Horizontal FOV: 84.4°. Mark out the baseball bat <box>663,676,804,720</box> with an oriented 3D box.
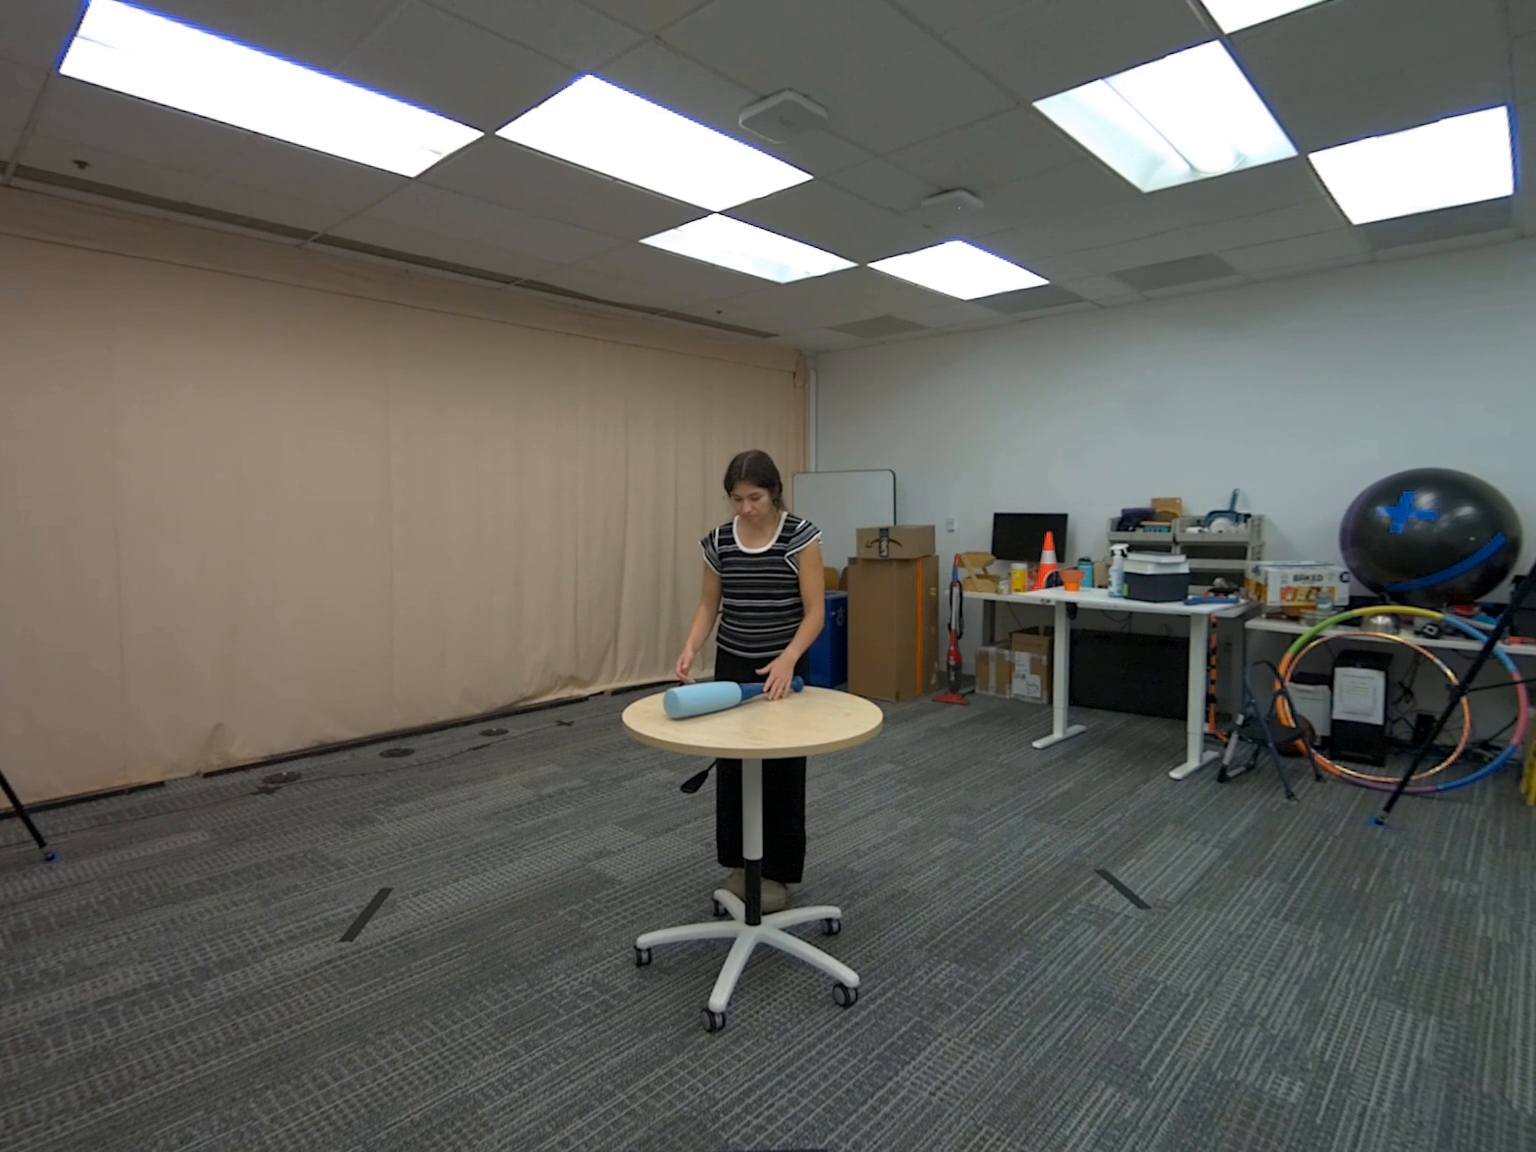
[{"bbox_3d":[-0.091,0.357,2.579,0.526,0.089,0.092,-3,4,-43],"label":"baseball bat"}]
